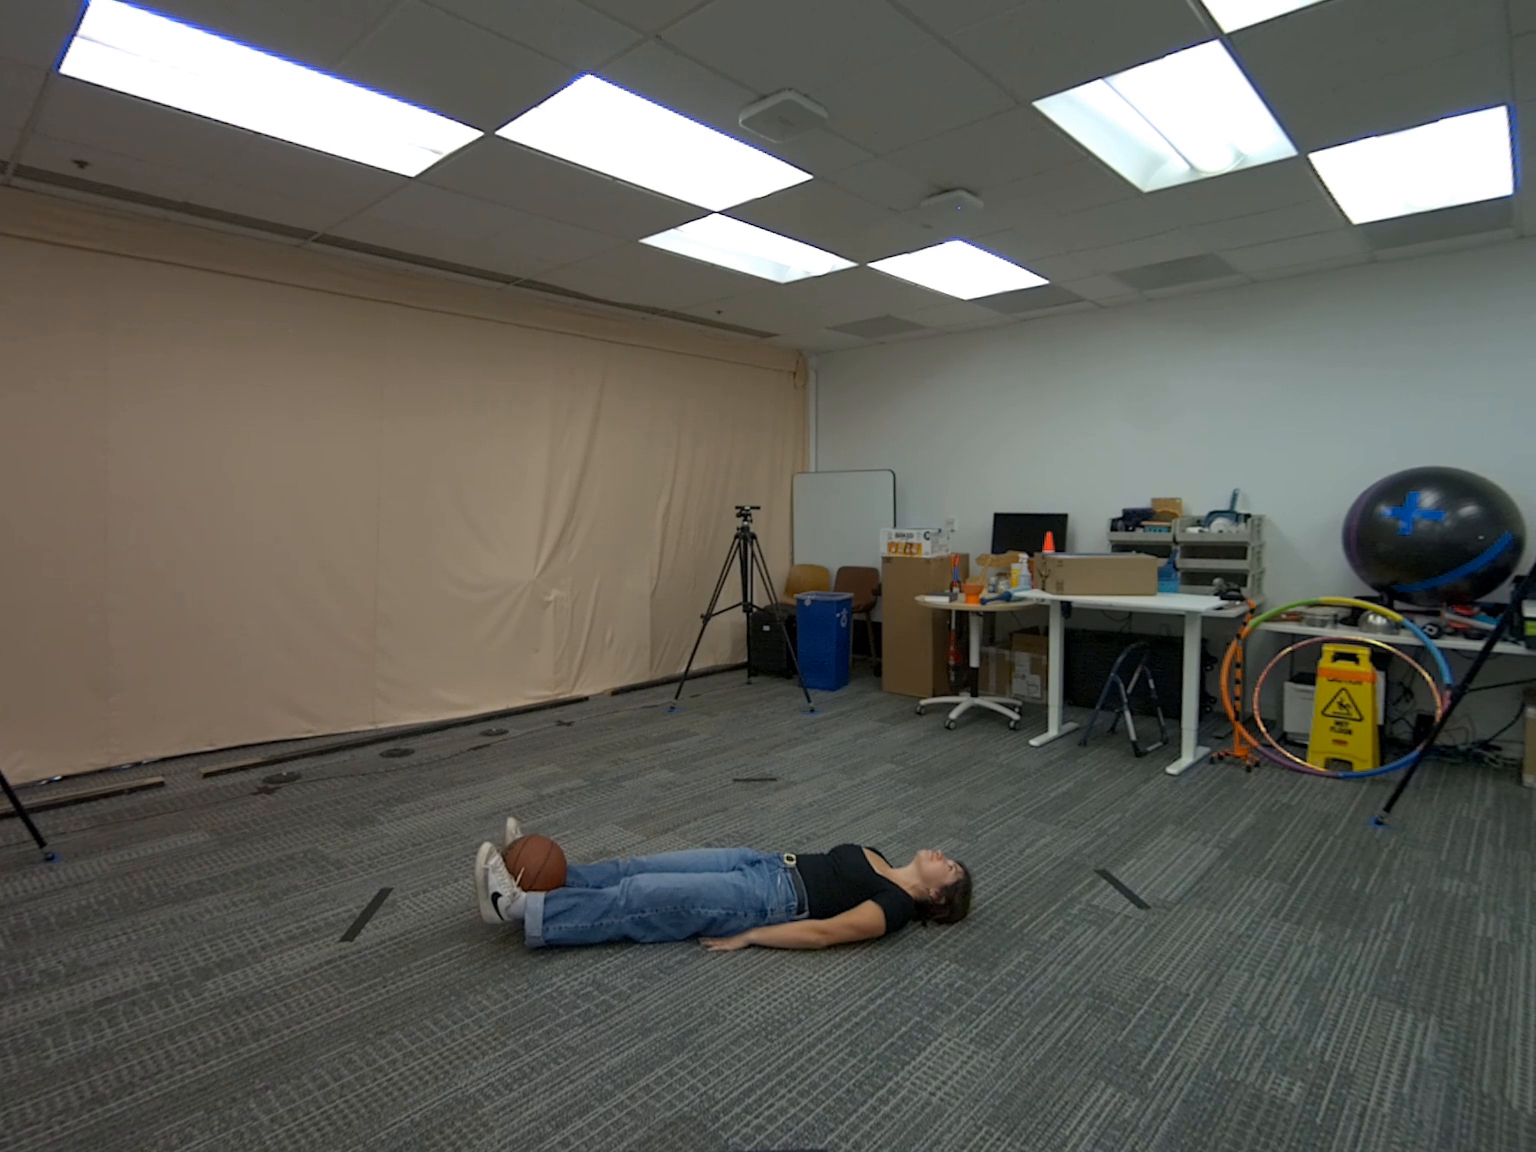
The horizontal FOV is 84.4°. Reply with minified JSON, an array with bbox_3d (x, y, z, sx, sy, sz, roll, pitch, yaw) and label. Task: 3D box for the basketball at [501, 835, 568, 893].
[{"bbox_3d":[-0.789,0.984,2.805,0.236,0.235,0.237,0,4,-2],"label":"basketball"}]
